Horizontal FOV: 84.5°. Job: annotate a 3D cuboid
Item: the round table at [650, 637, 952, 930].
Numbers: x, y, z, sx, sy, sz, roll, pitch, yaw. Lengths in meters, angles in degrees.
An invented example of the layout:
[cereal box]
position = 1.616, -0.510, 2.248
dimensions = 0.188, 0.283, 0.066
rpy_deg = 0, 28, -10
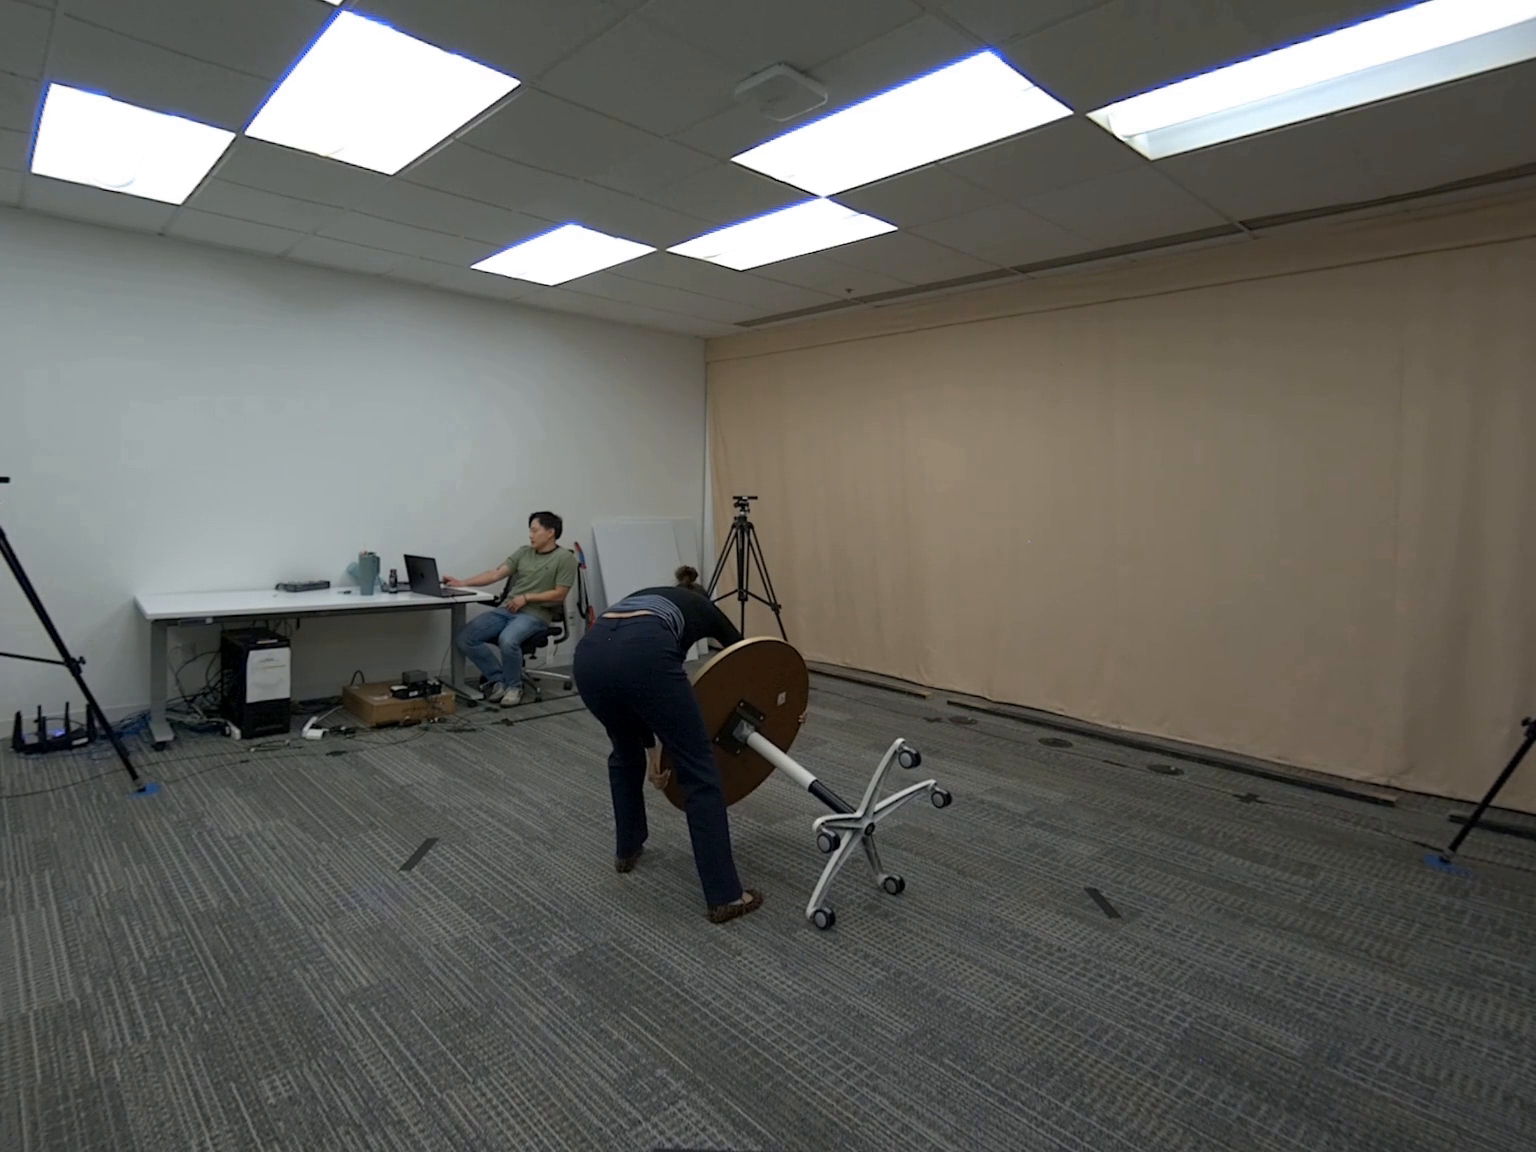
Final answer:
[round table]
position = 0.126, 0.741, 3.043
dimensions = 0.746, 0.757, 0.819
rpy_deg = -3, 23, -44
